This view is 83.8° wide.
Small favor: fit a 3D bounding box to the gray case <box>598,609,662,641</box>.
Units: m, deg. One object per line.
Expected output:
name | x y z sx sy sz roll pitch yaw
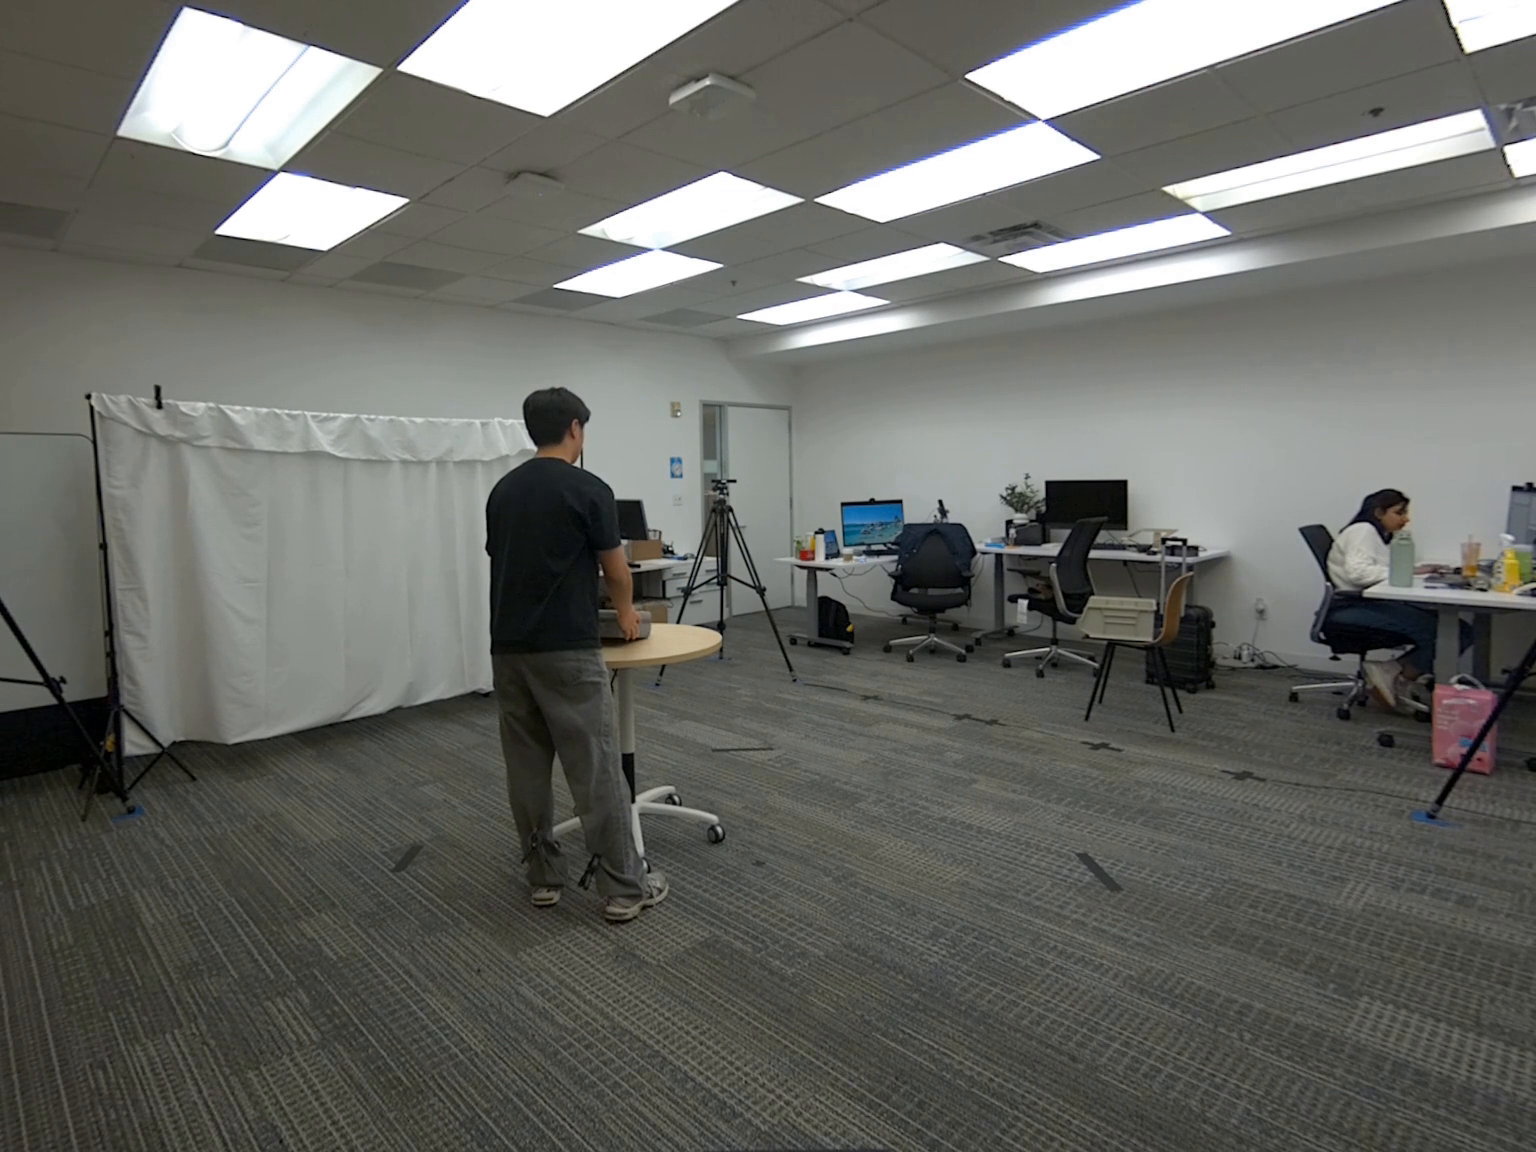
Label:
gray case | -0.596 0.182 3.301 0.268 0.103 0.281 0 -2 21
